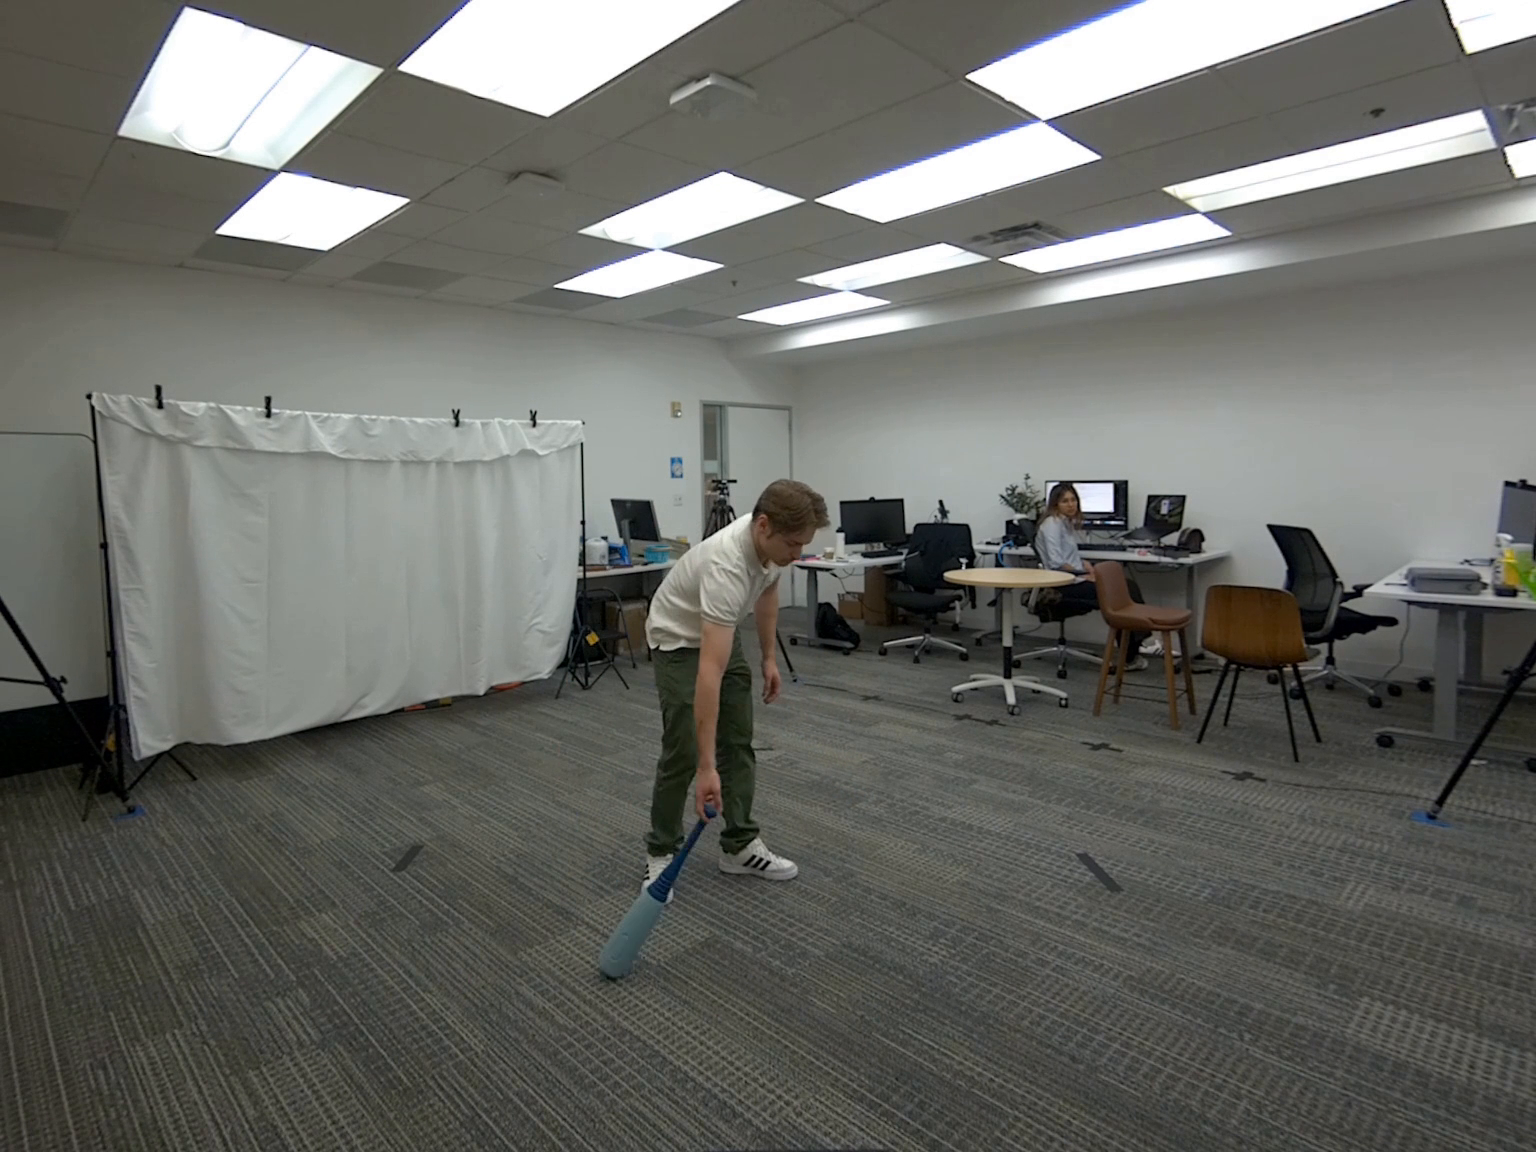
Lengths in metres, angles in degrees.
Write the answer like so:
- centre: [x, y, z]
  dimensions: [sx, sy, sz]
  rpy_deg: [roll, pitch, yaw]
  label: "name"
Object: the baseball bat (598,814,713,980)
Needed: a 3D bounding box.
- centre: [-0.303, 0.902, 2.440]
  dimensions: [0.089, 0.543, 0.089]
  rpy_deg: [33, -2, -1]
  label: "baseball bat"
